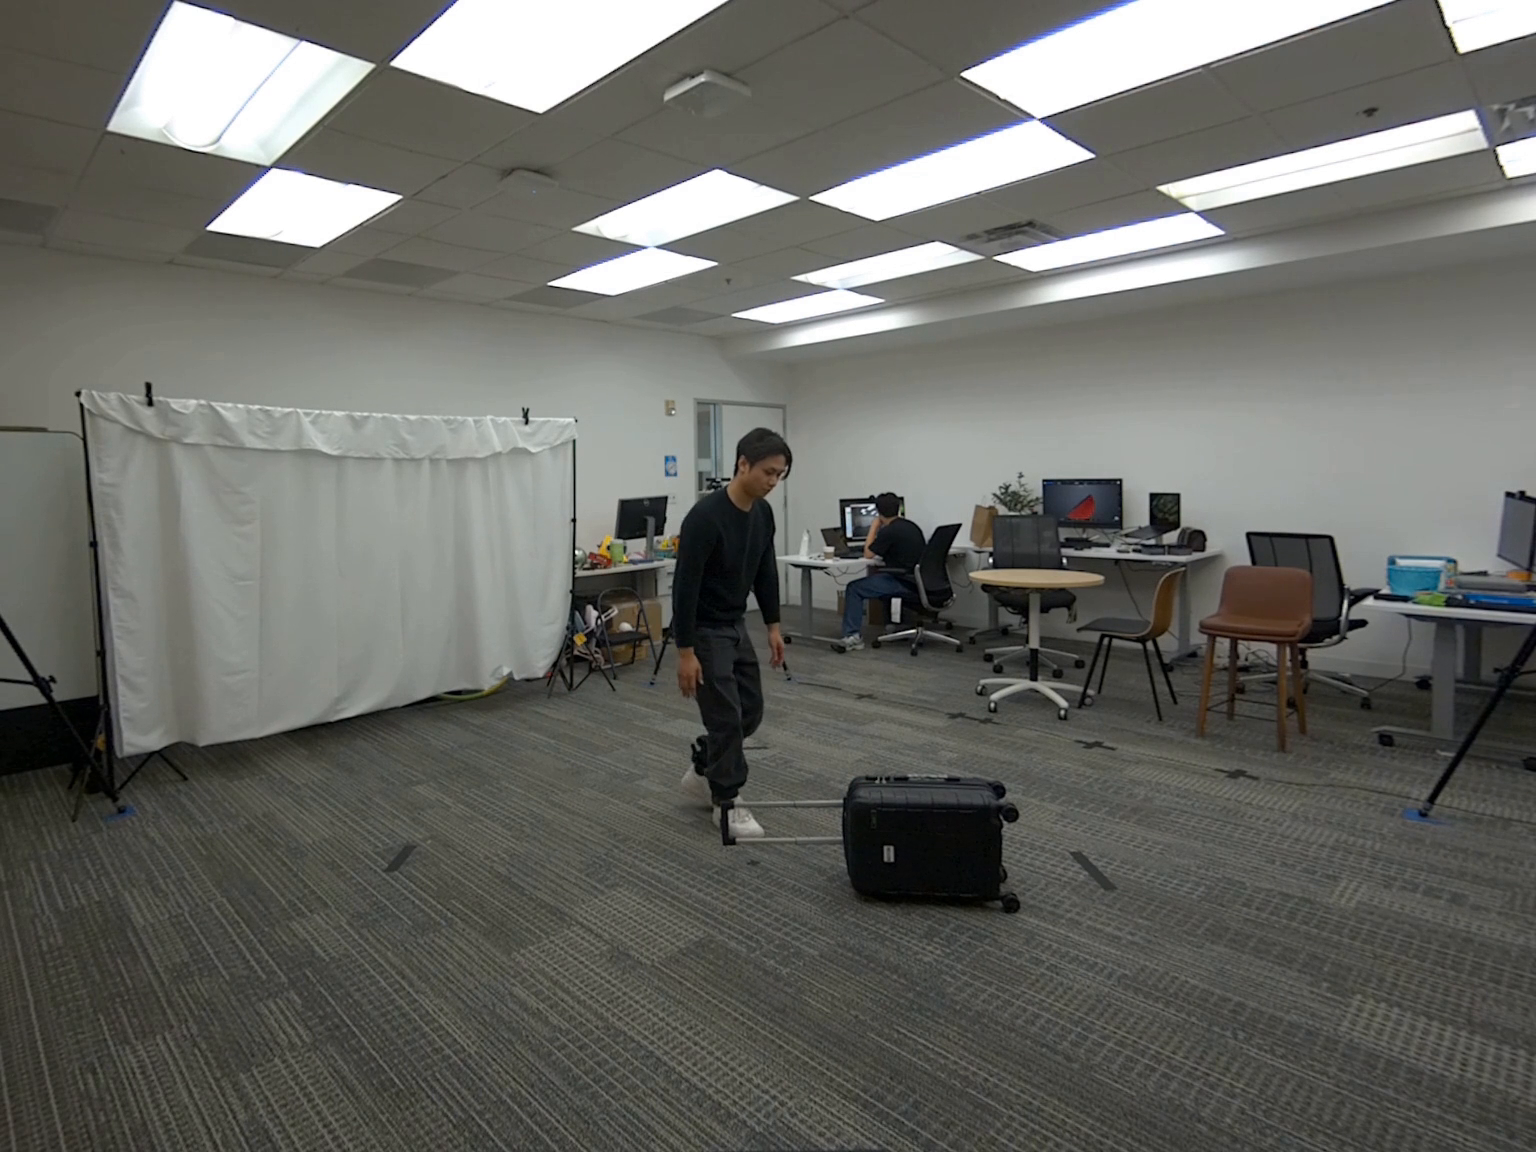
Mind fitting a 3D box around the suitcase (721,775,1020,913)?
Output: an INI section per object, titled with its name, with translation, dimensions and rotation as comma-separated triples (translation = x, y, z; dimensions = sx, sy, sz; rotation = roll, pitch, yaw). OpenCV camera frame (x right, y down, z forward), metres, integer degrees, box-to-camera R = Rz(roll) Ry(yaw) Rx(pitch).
[suitcase]
translation = 0.324, 0.872, 2.881
dimensions = 0.984, 0.383, 0.256
rotation = -1, 3, 6
